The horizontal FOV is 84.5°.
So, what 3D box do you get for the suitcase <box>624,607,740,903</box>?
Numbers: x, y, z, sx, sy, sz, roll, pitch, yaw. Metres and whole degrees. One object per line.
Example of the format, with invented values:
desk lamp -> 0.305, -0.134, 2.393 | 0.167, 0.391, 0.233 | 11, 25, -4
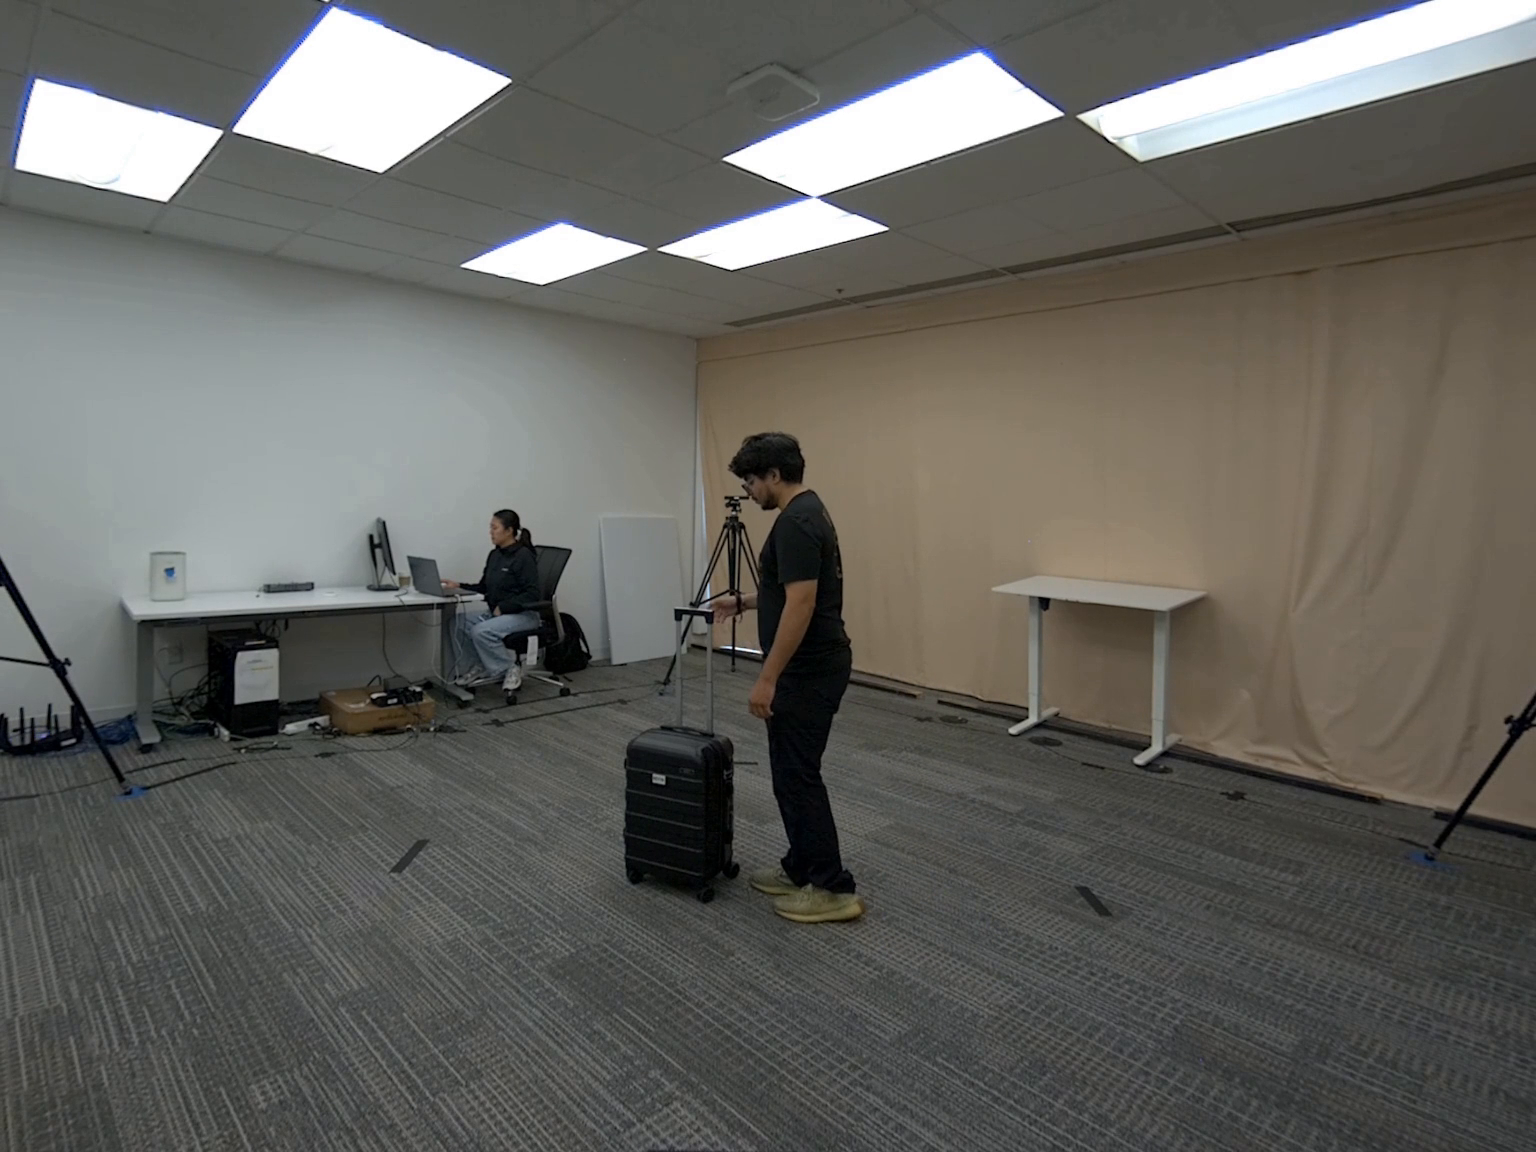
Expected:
suitcase -> -0.322, 0.632, 3.015 | 0.391, 0.974, 0.253 | 3, 7, 24
